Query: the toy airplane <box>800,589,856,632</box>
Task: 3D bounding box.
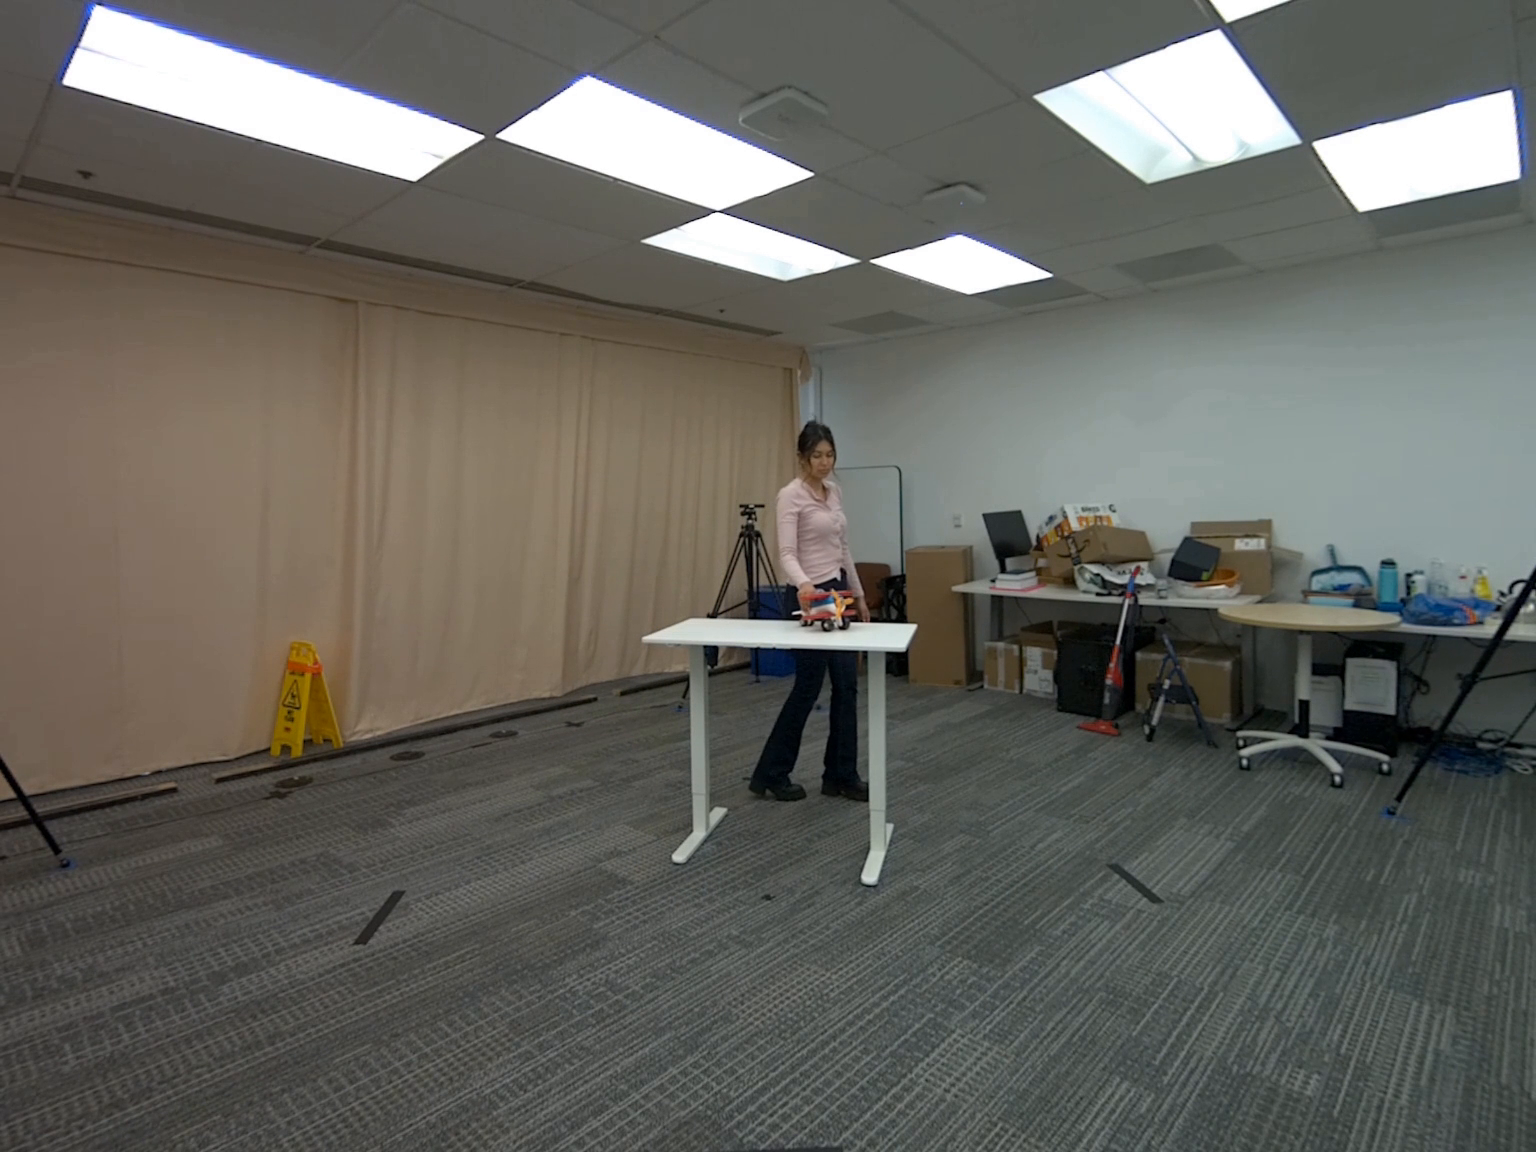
[{"bbox_3d":[0.212,0.139,3.435,0.266,0.156,0.245,2,4,28],"label":"toy airplane"}]
